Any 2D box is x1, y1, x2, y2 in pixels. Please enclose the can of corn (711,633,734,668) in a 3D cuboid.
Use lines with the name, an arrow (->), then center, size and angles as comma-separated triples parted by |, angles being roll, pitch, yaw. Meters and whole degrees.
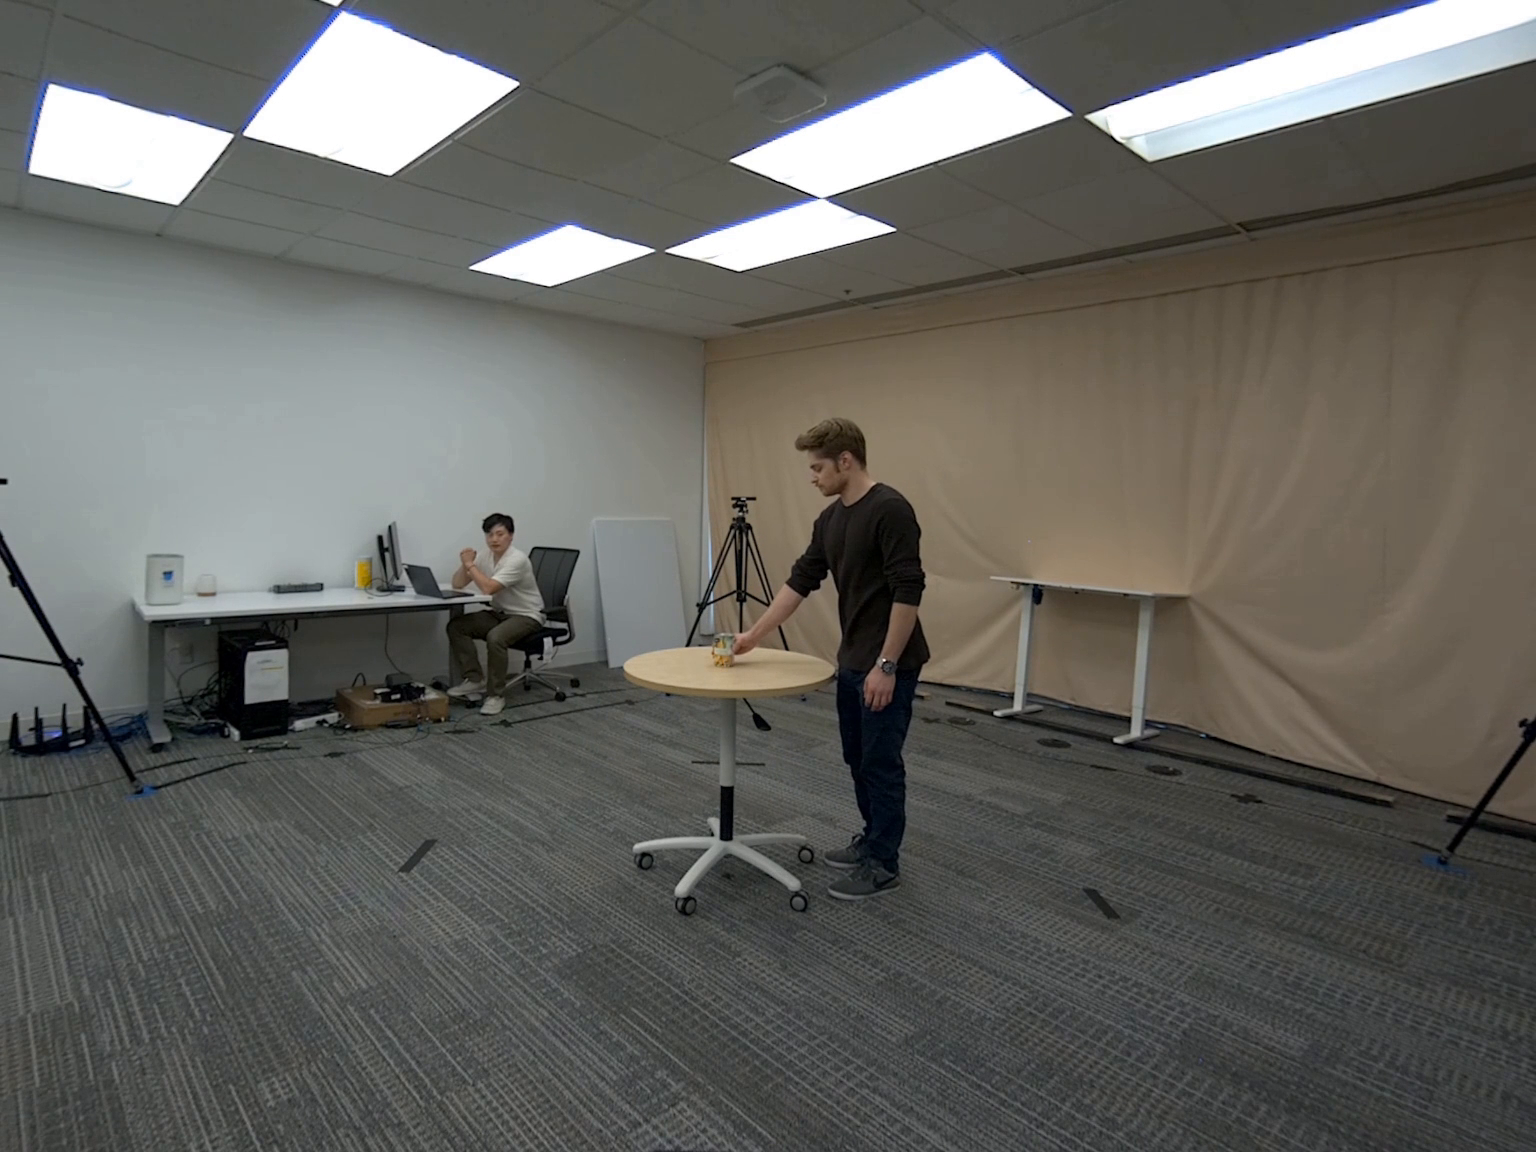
can of corn -> -0.165, 0.267, 3.051 | 0.074, 0.111, 0.074 | 3, 5, -2
